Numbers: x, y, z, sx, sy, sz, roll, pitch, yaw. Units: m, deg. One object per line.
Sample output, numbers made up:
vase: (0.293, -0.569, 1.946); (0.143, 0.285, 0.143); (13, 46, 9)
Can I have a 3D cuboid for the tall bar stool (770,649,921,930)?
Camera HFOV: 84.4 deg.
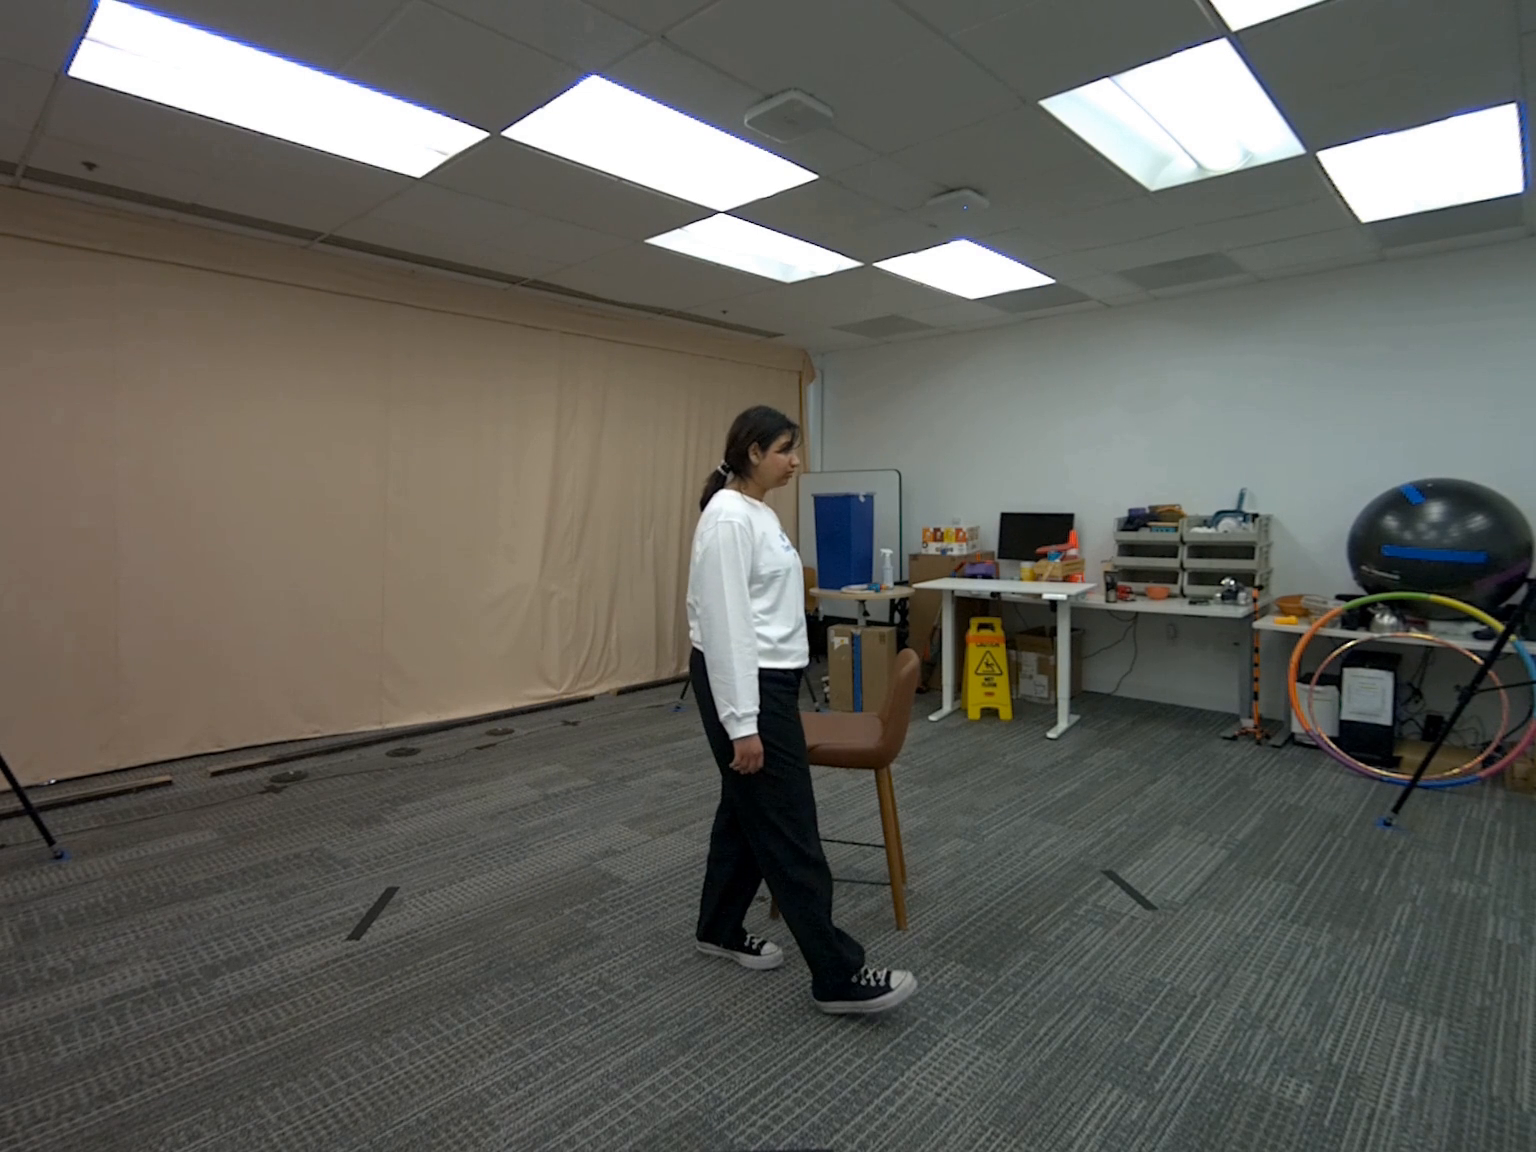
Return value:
tall bar stool: (0.275, 0.710, 2.960); (0.474, 0.888, 0.451); (3, 4, 12)
